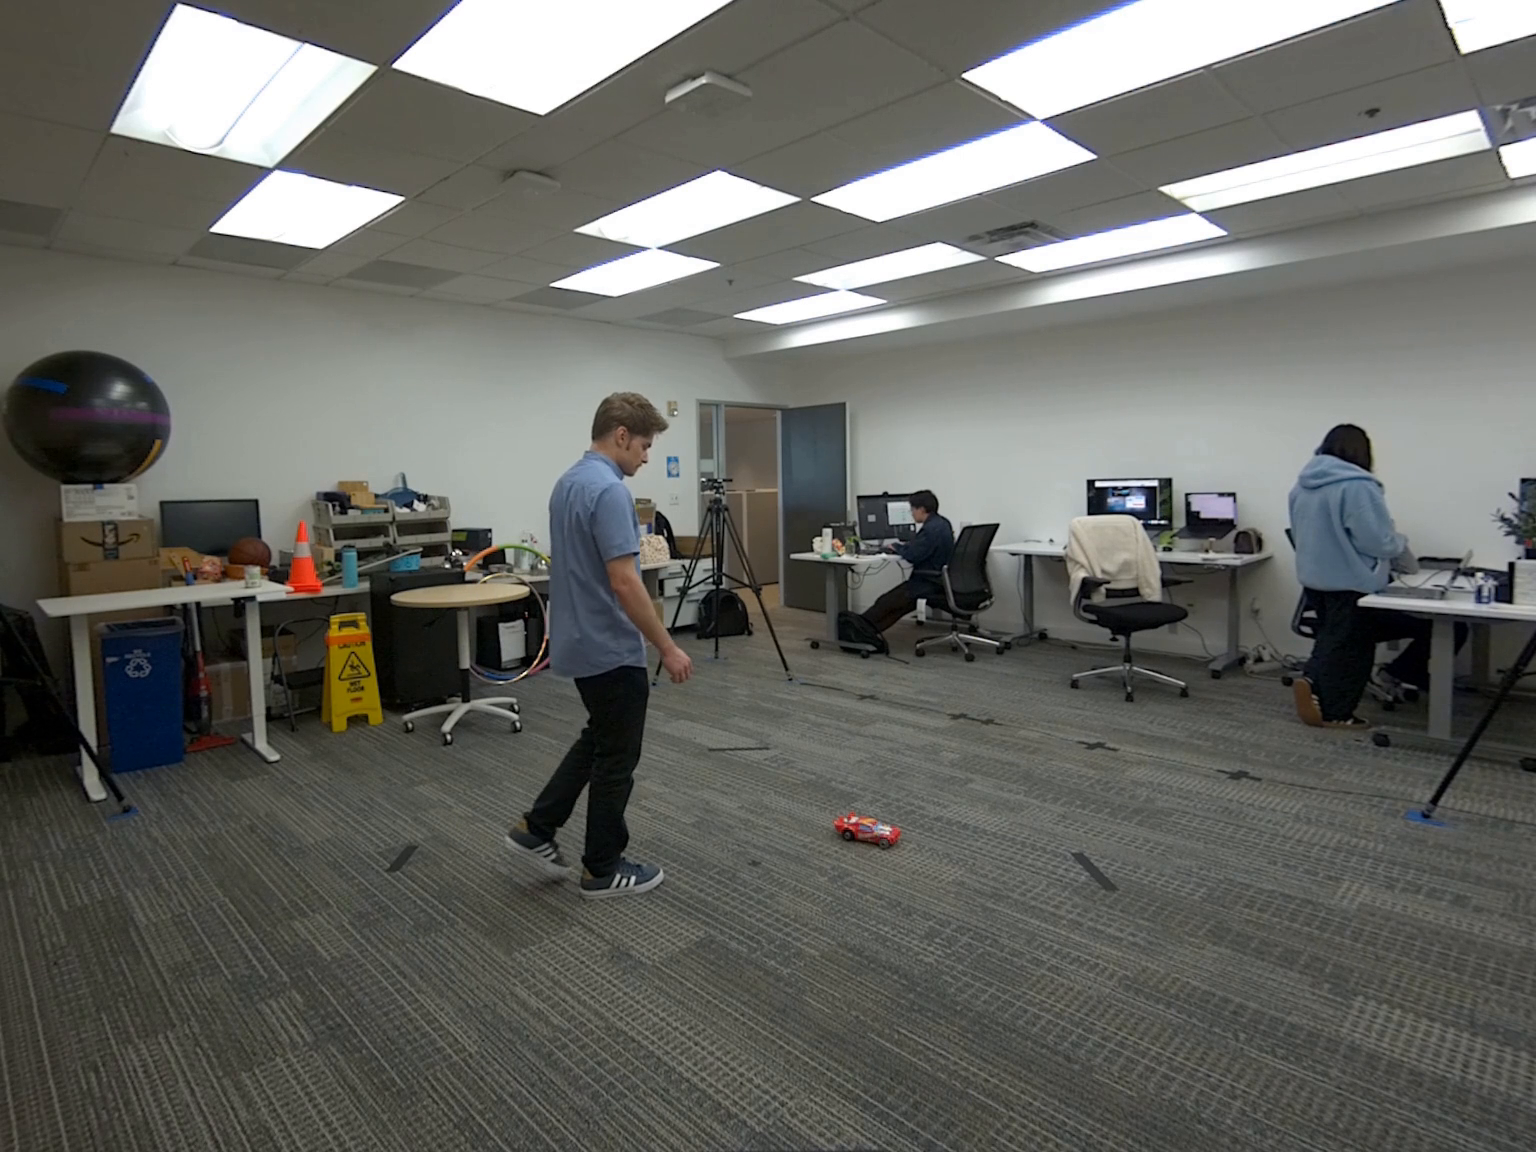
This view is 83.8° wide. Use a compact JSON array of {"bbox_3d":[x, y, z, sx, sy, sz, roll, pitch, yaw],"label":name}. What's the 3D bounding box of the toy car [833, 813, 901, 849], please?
[{"bbox_3d":[0.378,0.987,3.302,0.262,0.082,0.127,15,13,30],"label":"toy car"}]
